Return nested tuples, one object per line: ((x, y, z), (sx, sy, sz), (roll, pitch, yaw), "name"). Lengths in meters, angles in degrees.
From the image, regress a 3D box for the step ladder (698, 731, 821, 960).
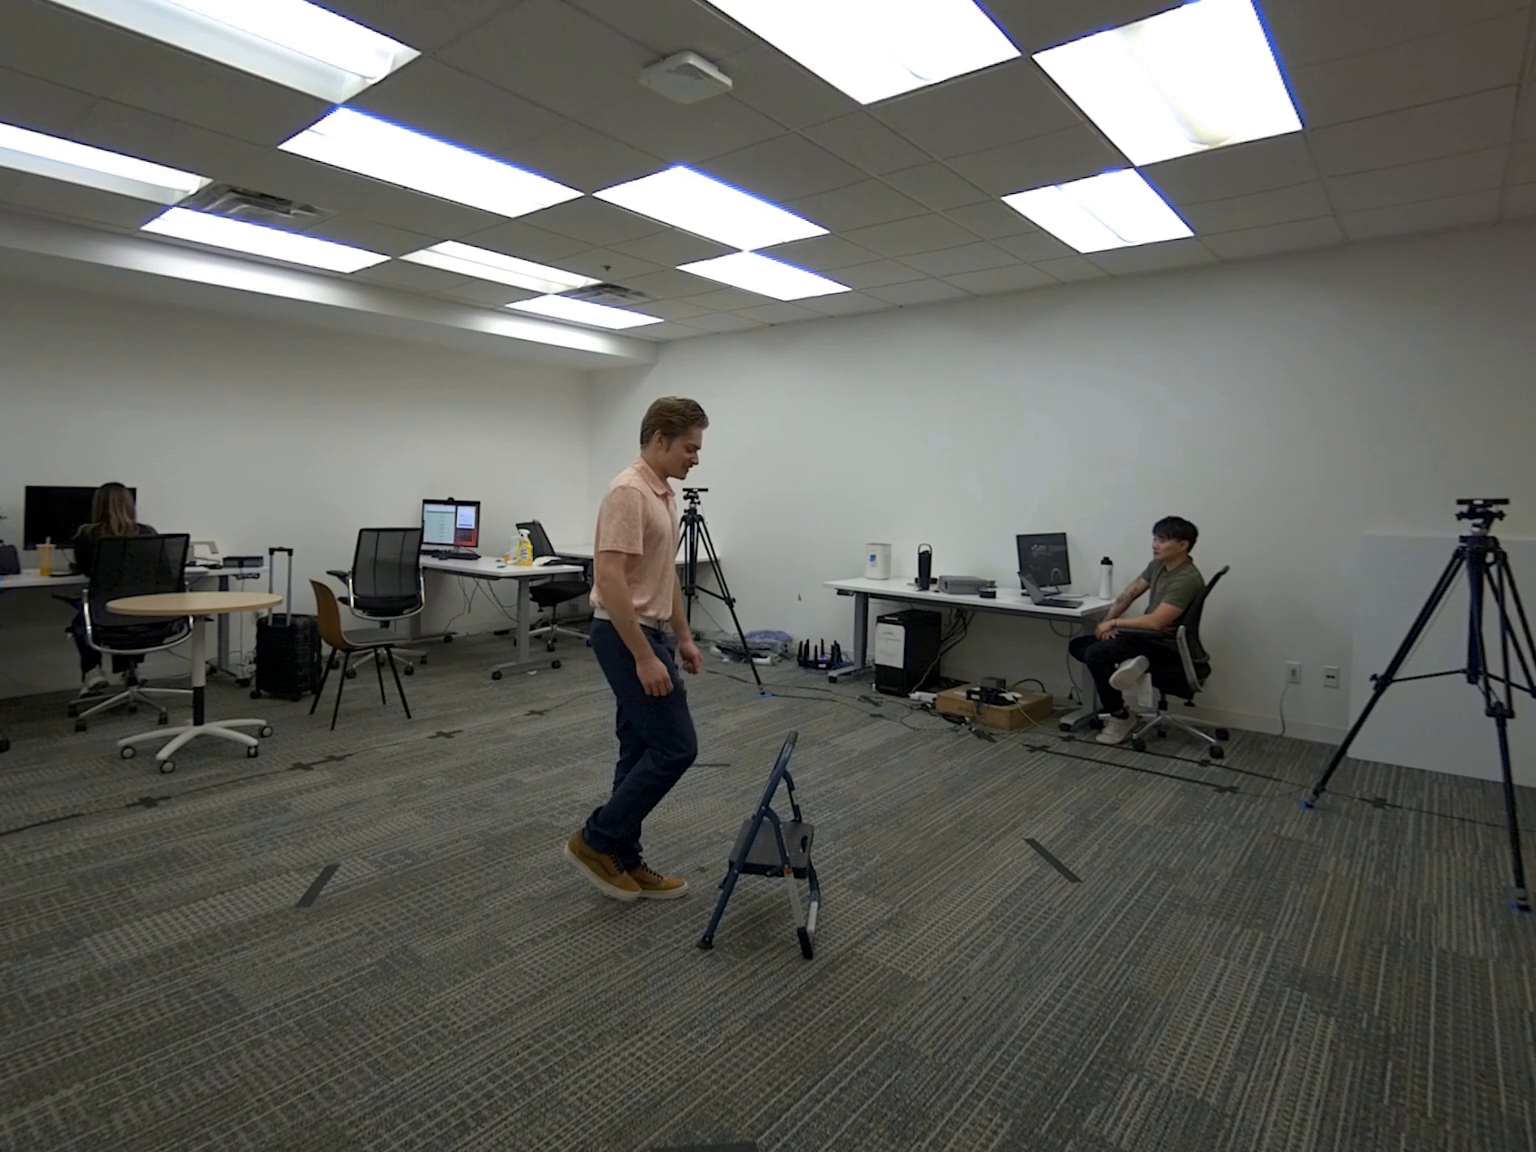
((-0.007, 0.808, 2.728), (0.353, 0.604, 0.428), (2, 4, 8), "step ladder")
